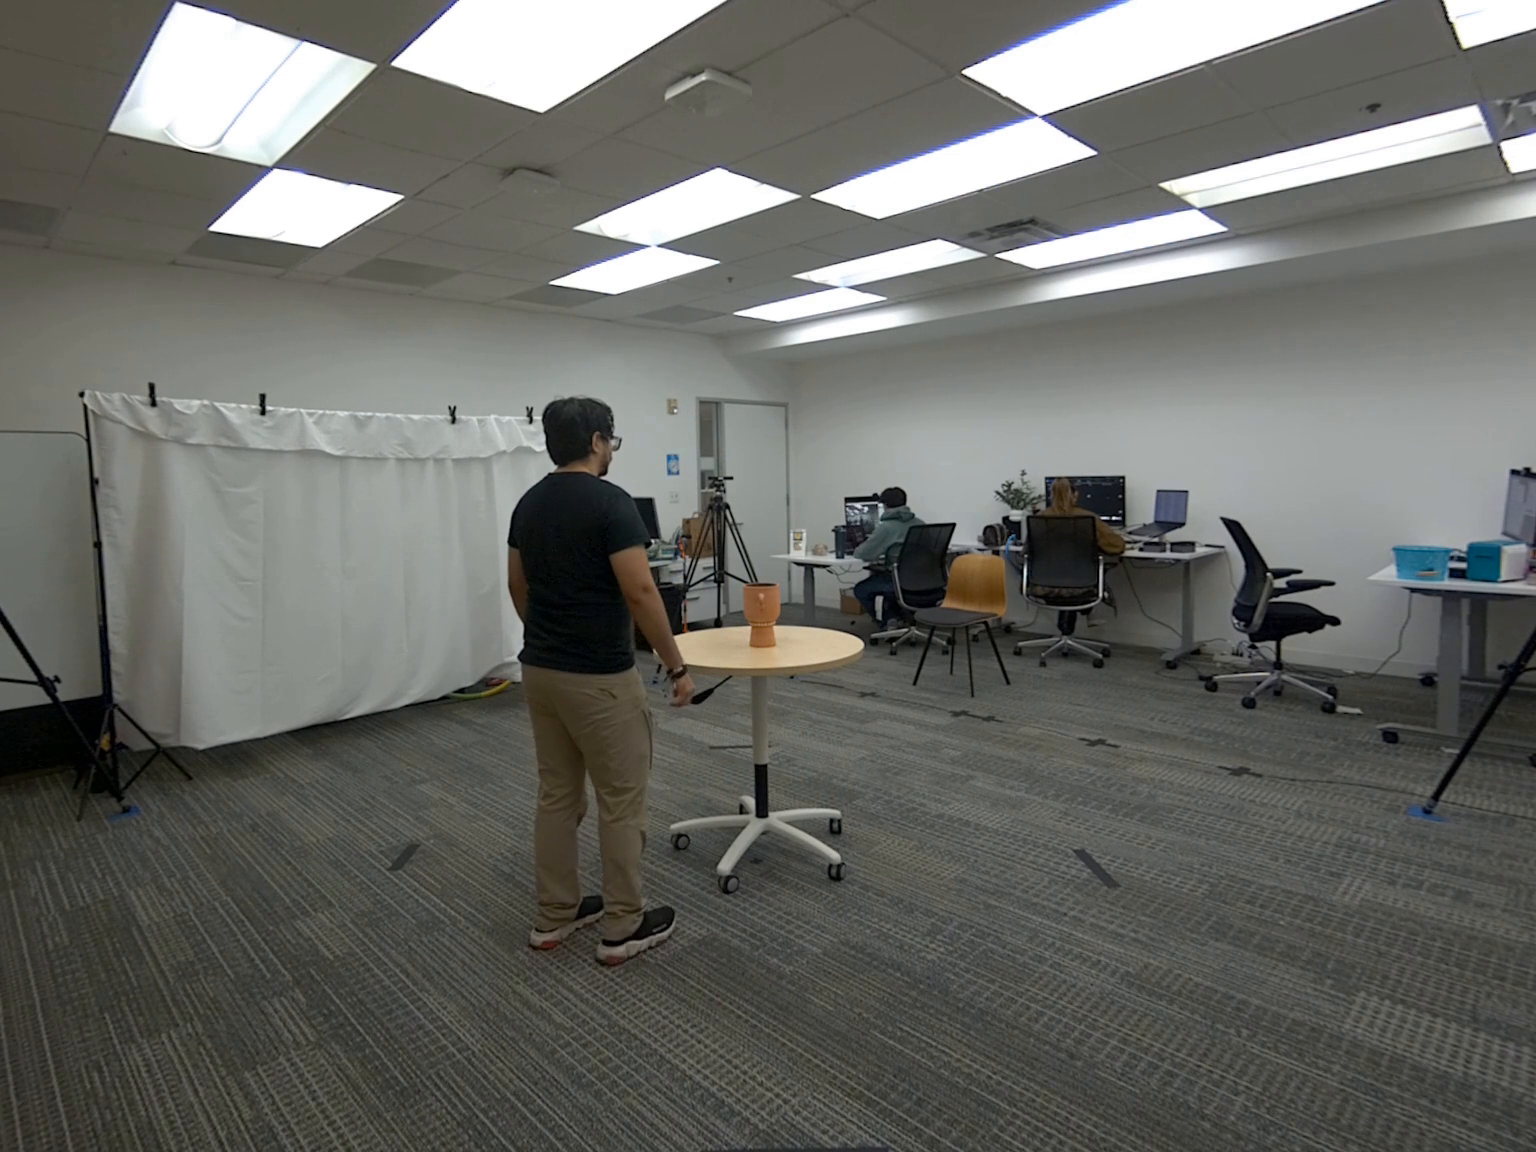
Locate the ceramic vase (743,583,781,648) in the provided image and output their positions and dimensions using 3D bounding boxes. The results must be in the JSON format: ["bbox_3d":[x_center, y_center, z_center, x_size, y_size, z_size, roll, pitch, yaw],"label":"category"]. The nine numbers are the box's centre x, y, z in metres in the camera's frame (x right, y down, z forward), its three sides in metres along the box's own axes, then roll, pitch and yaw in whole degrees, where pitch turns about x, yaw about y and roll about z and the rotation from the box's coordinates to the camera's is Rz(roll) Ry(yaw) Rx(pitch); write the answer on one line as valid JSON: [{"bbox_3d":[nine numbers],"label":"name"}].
[{"bbox_3d":[-0.022,0.142,3.109,0.138,0.219,0.155,1,5,39],"label":"ceramic vase"}]
